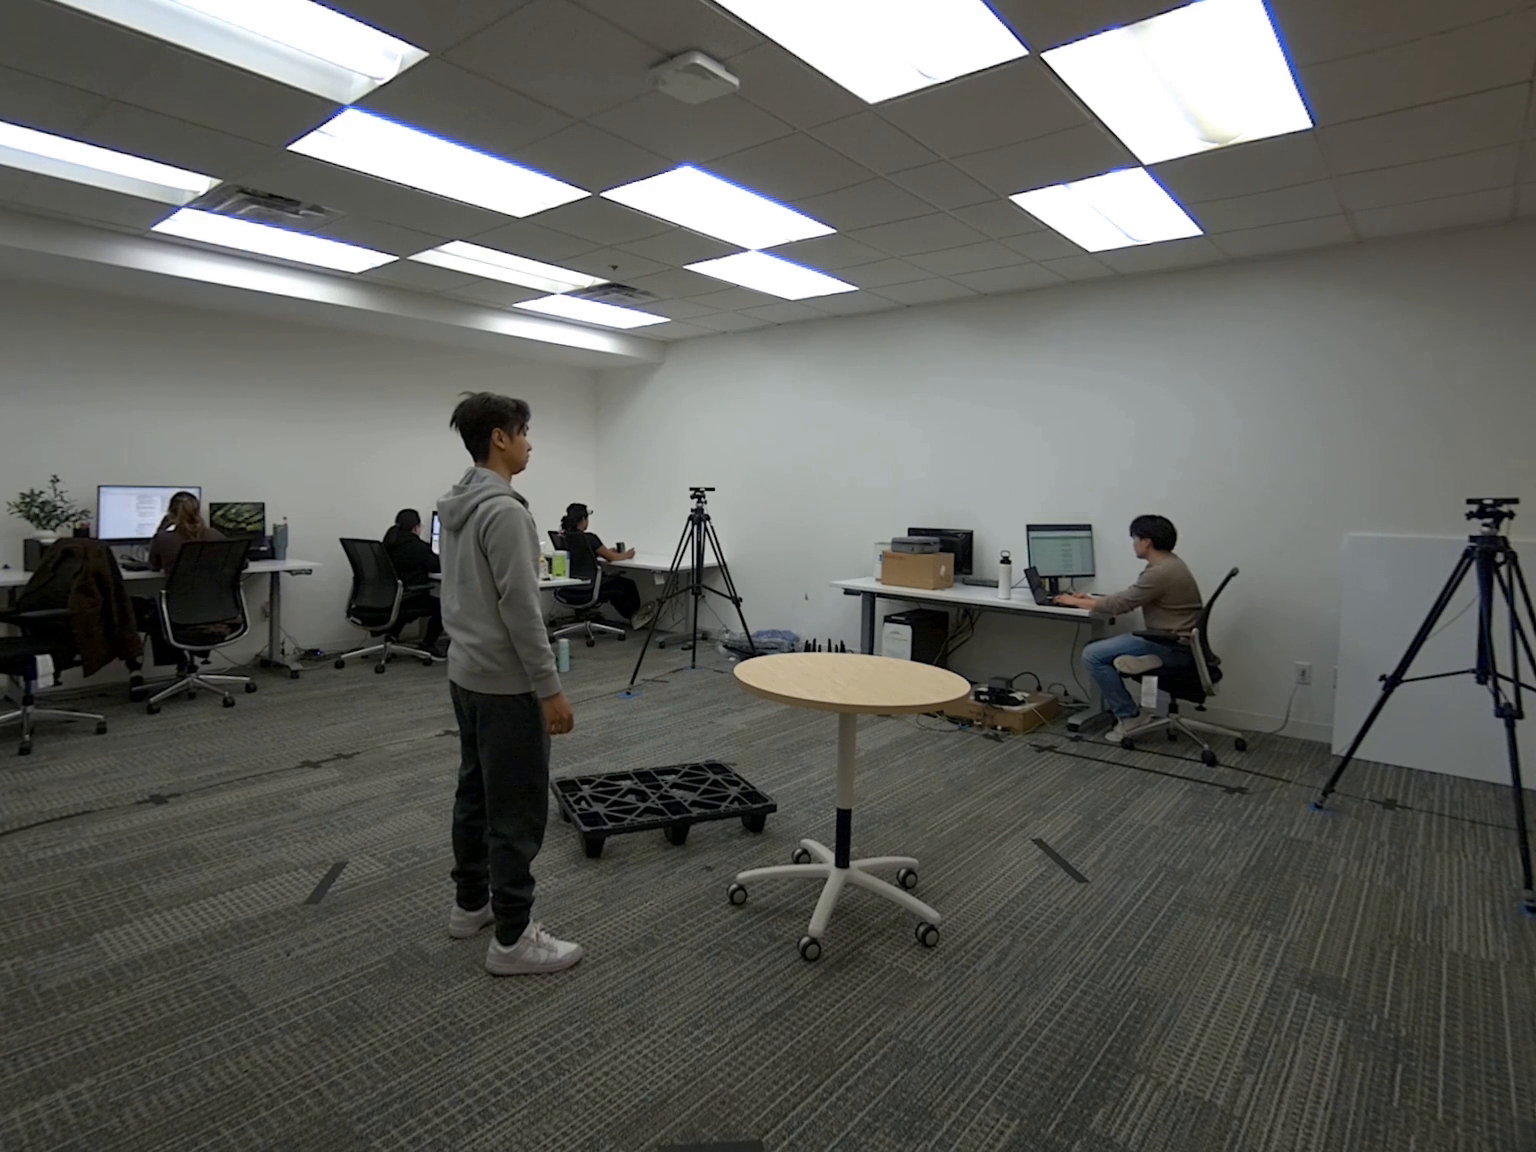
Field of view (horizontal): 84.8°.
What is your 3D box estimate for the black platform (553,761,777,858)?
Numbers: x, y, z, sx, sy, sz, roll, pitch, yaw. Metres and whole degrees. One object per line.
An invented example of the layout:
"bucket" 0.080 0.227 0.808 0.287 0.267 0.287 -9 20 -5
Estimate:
"black platform" -0.453 0.953 3.527 0.787 0.143 0.622 -2 7 -24
